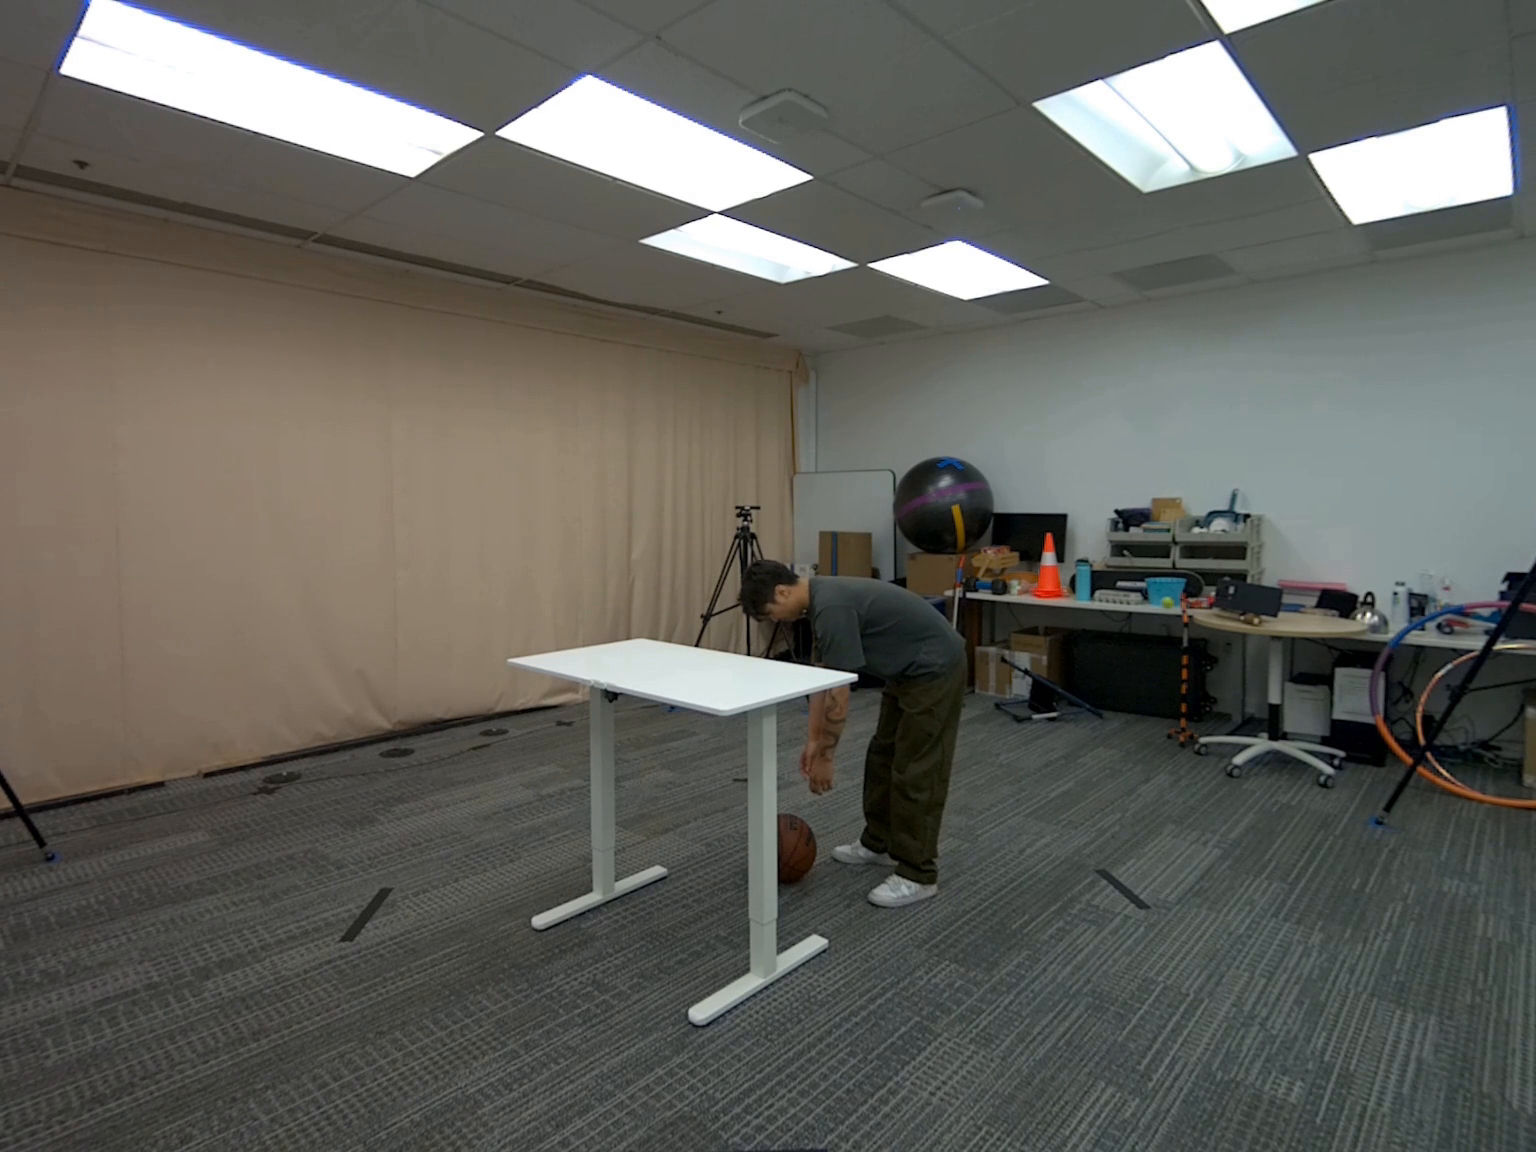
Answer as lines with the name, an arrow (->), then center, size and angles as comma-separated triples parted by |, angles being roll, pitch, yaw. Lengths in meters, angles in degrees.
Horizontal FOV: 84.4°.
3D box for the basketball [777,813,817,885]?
basketball -> 0.065, 1.012, 3.142 | 0.236, 0.235, 0.237 | 0, 4, -2
